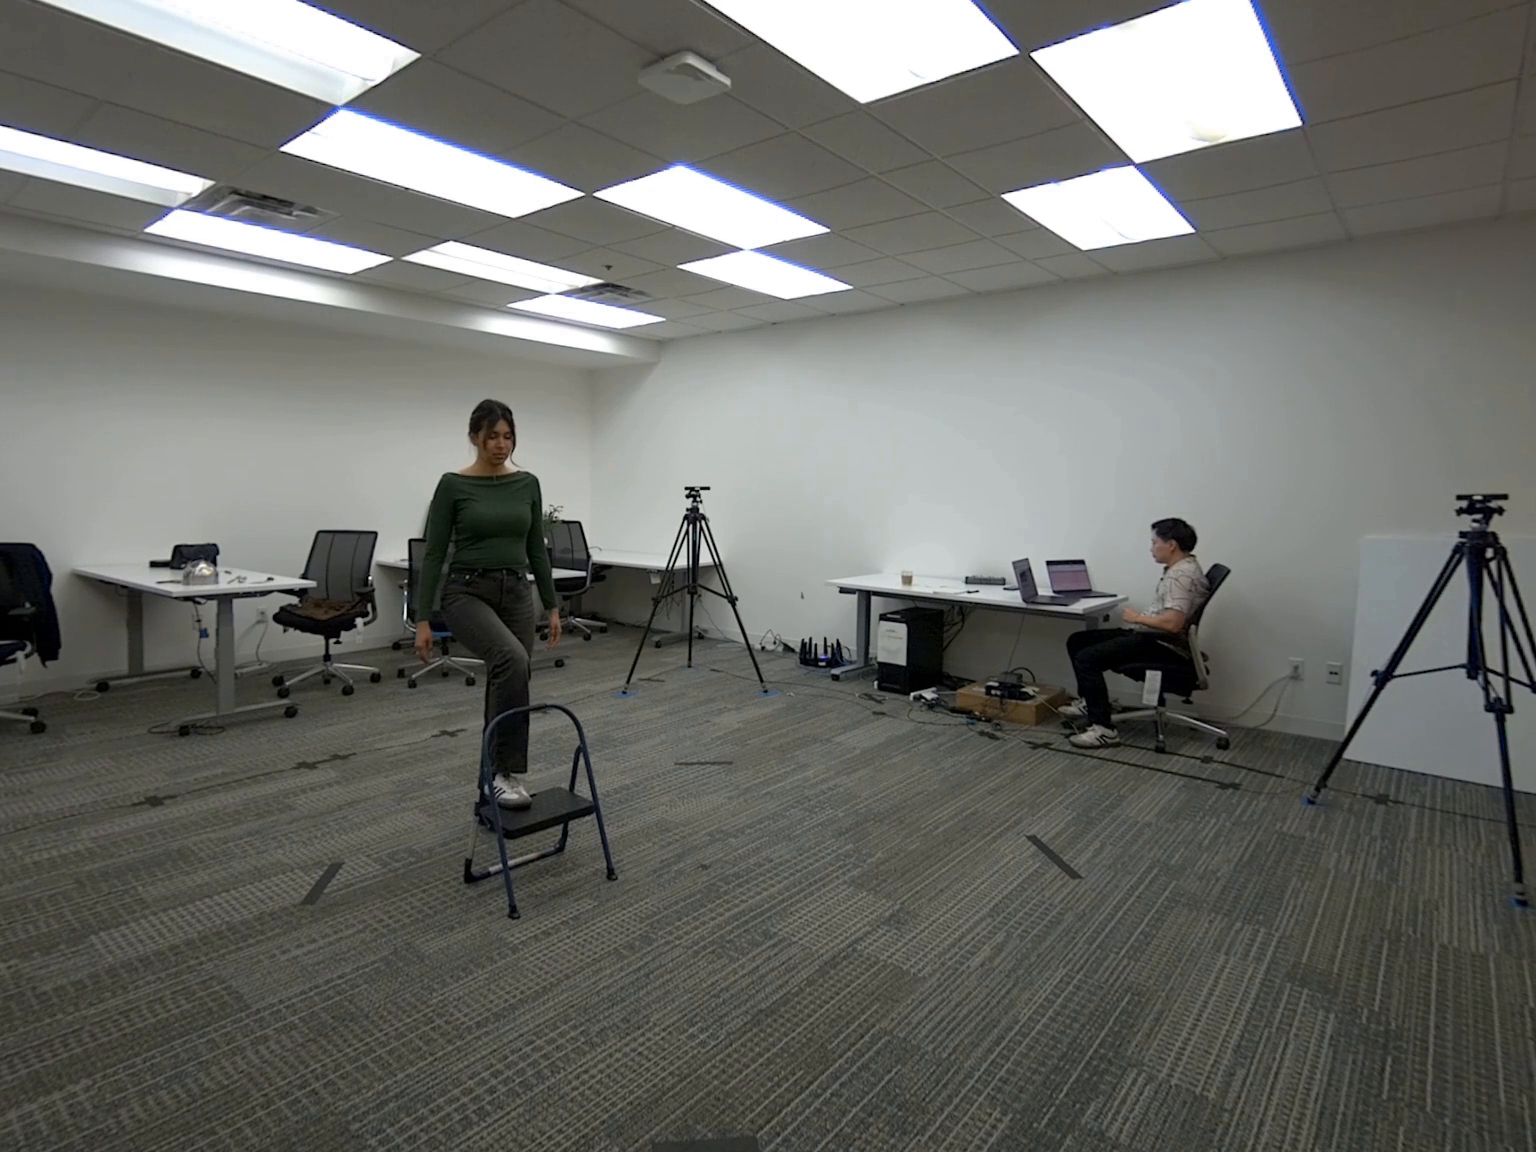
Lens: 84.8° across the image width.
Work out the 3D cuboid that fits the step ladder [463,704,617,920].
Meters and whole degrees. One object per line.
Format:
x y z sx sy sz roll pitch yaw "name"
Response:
-0.807 0.769 2.975 0.361 0.604 0.418 3 4 43 "step ladder"
